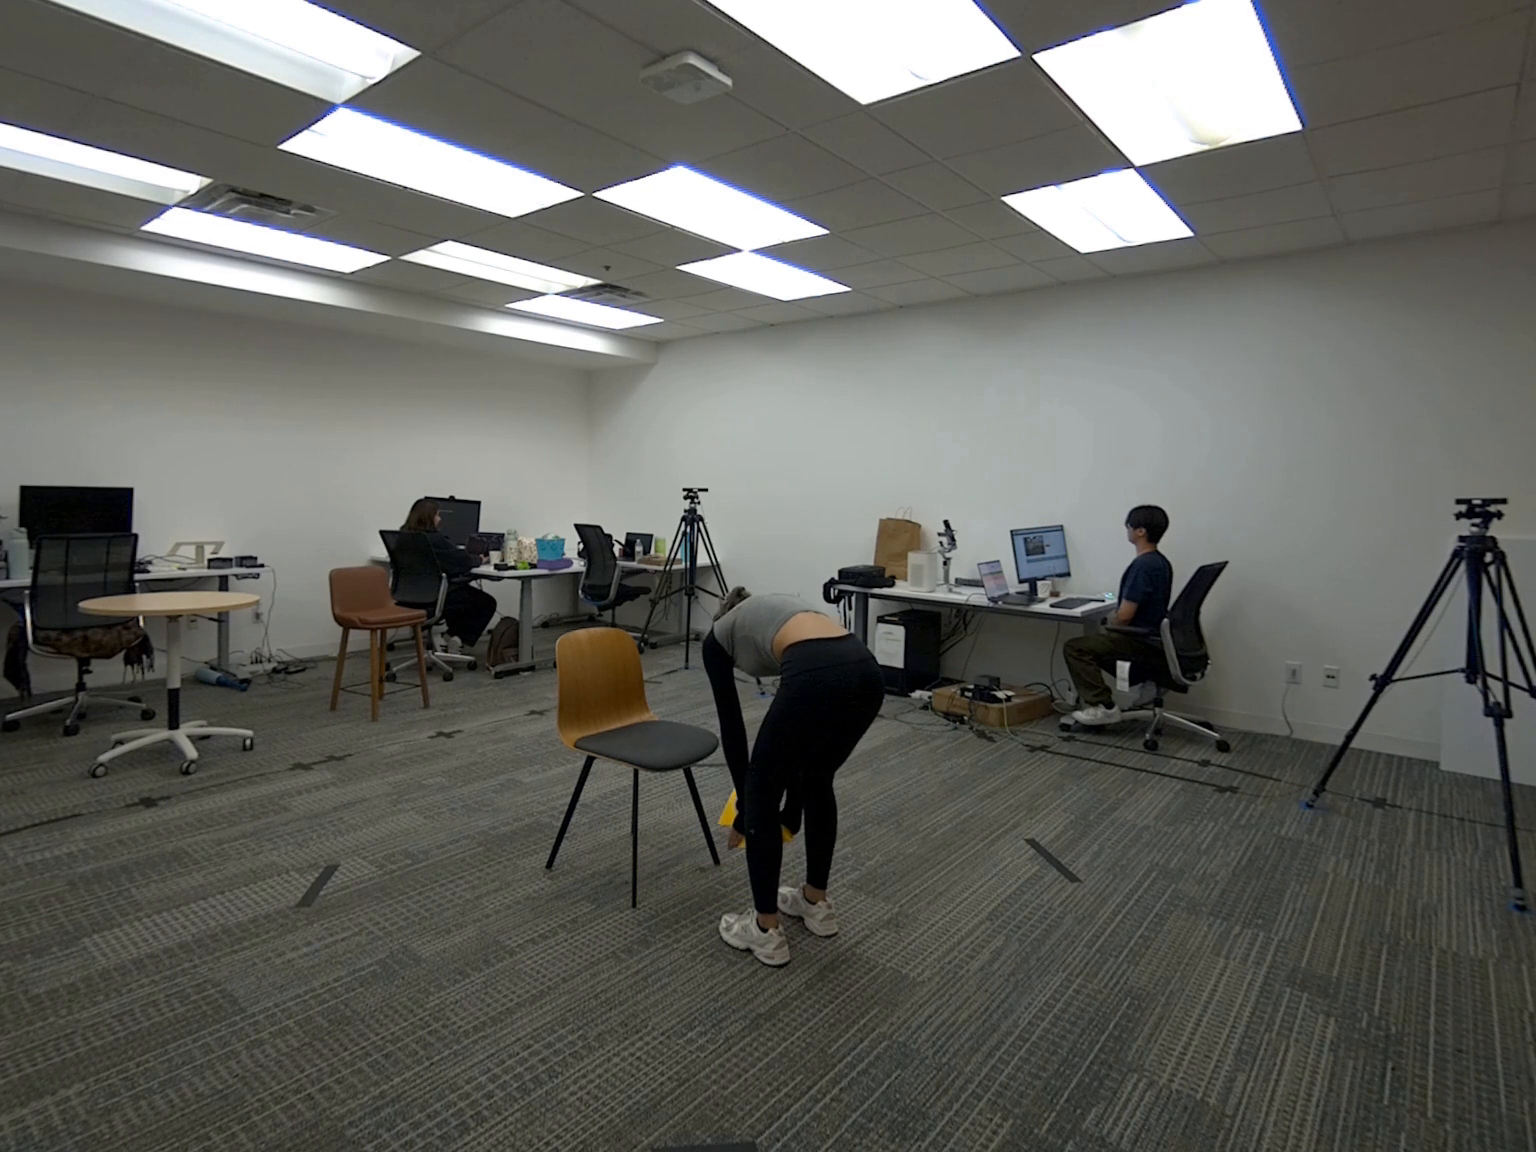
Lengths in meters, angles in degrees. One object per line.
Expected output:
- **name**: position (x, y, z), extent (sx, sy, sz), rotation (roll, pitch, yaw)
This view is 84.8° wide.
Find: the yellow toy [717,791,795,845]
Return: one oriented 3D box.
- **yellow toy**: position (-0.048, 0.760, 2.823), extent (0.199, 0.235, 0.195), rotation (3, -22, -33)
